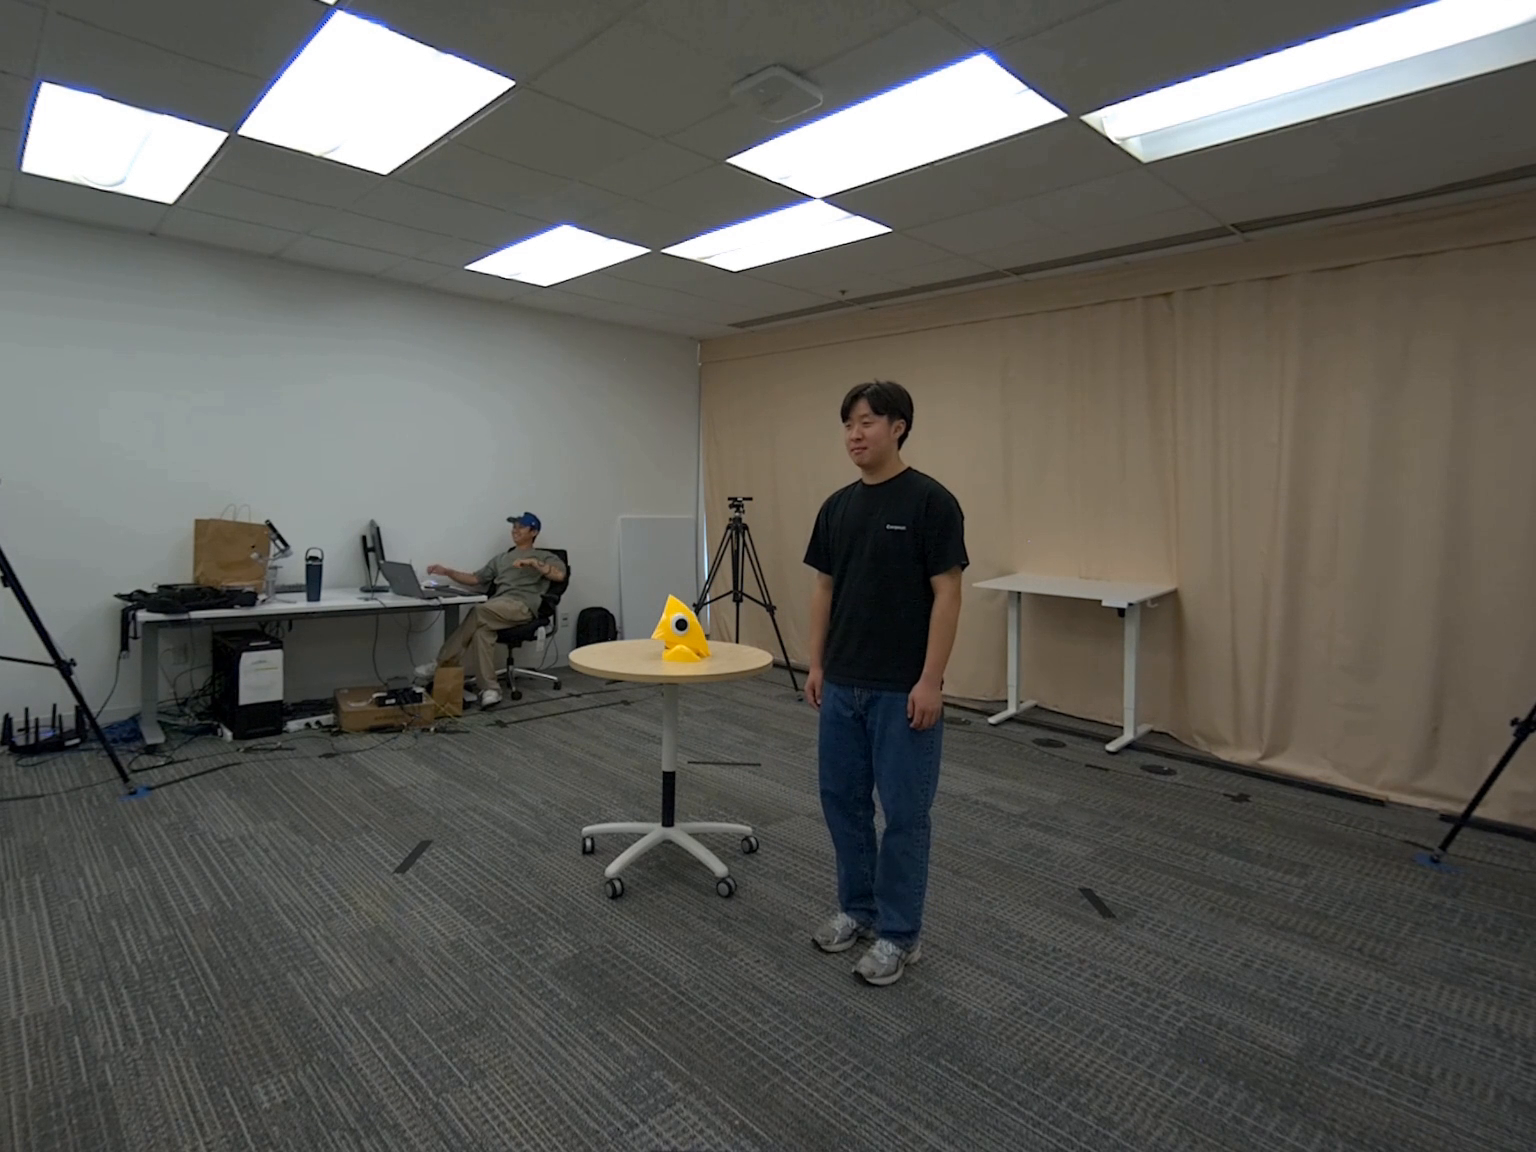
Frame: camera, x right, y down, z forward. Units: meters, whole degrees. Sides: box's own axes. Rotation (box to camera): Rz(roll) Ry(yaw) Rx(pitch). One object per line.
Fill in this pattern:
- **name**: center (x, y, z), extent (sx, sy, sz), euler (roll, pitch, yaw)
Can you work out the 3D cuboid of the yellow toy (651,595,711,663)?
- **yellow toy**: center (-0.318, 0.187, 3.147), extent (0.195, 0.230, 0.203), euler (2, 4, 15)
